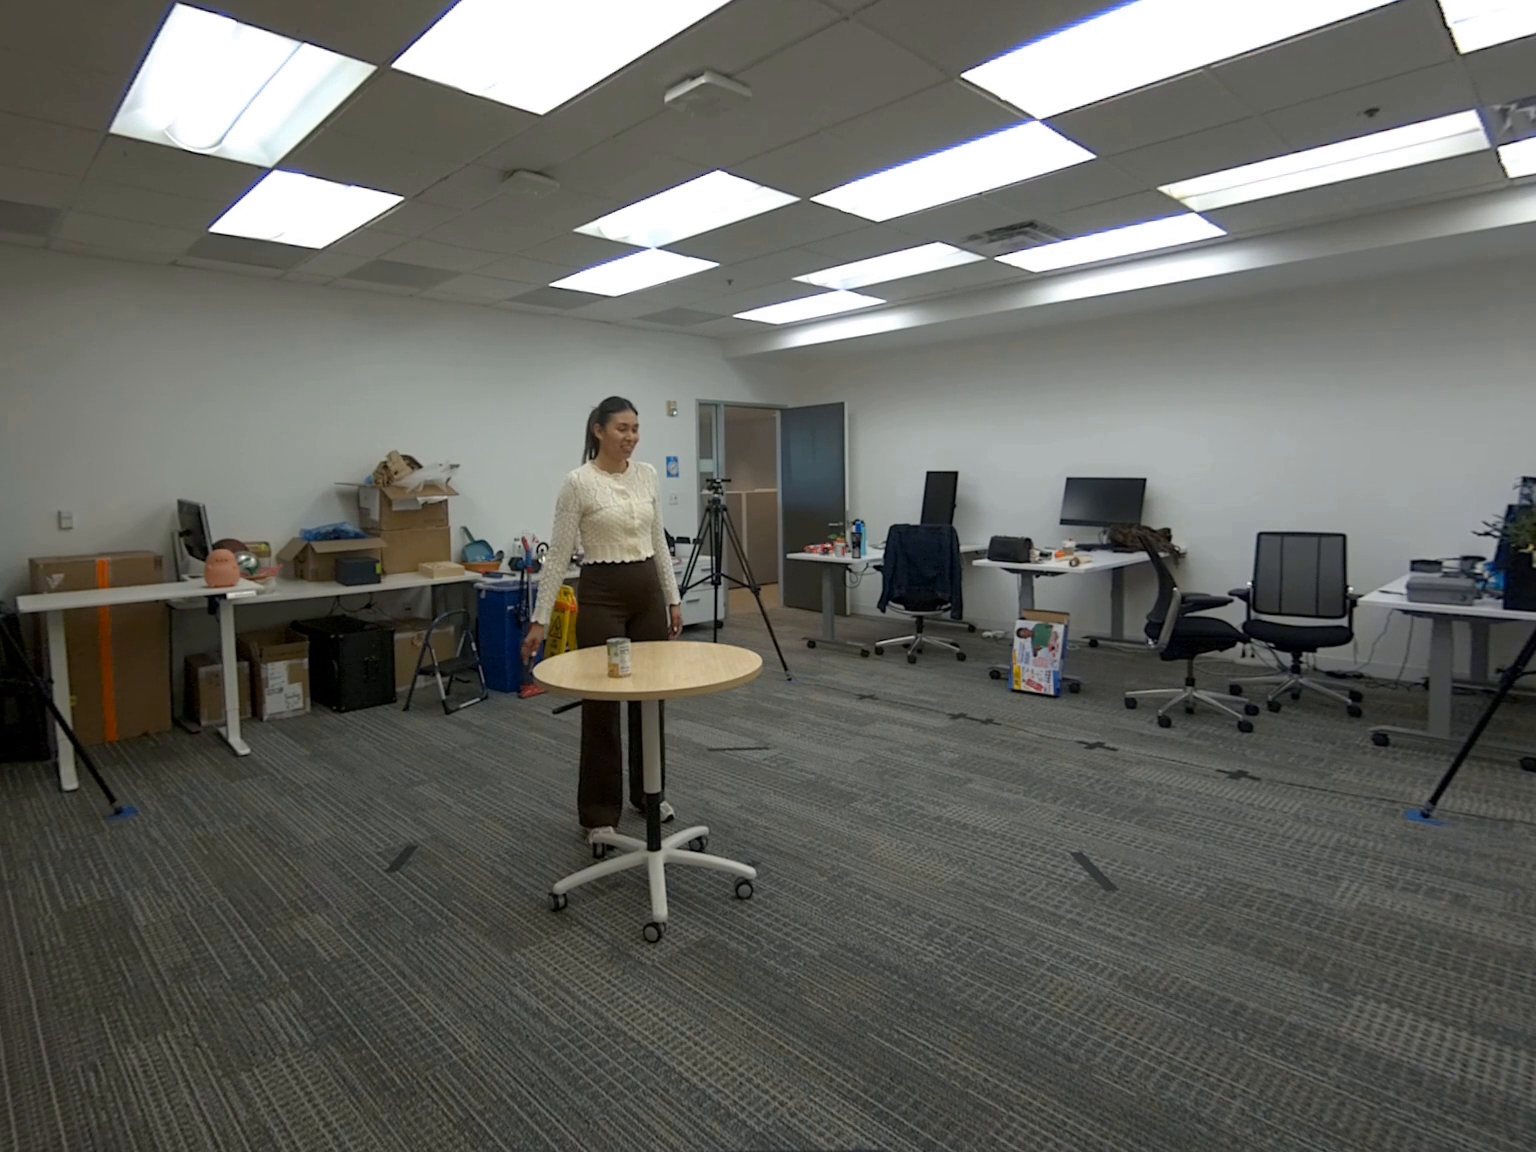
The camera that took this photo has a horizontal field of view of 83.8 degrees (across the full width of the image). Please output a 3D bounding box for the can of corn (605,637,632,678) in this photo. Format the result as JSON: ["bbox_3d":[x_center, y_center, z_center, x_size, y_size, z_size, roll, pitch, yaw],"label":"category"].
[{"bbox_3d":[-0.473,0.263,2.706,0.074,0.110,0.074,-4,4,-1],"label":"can of corn"}]
